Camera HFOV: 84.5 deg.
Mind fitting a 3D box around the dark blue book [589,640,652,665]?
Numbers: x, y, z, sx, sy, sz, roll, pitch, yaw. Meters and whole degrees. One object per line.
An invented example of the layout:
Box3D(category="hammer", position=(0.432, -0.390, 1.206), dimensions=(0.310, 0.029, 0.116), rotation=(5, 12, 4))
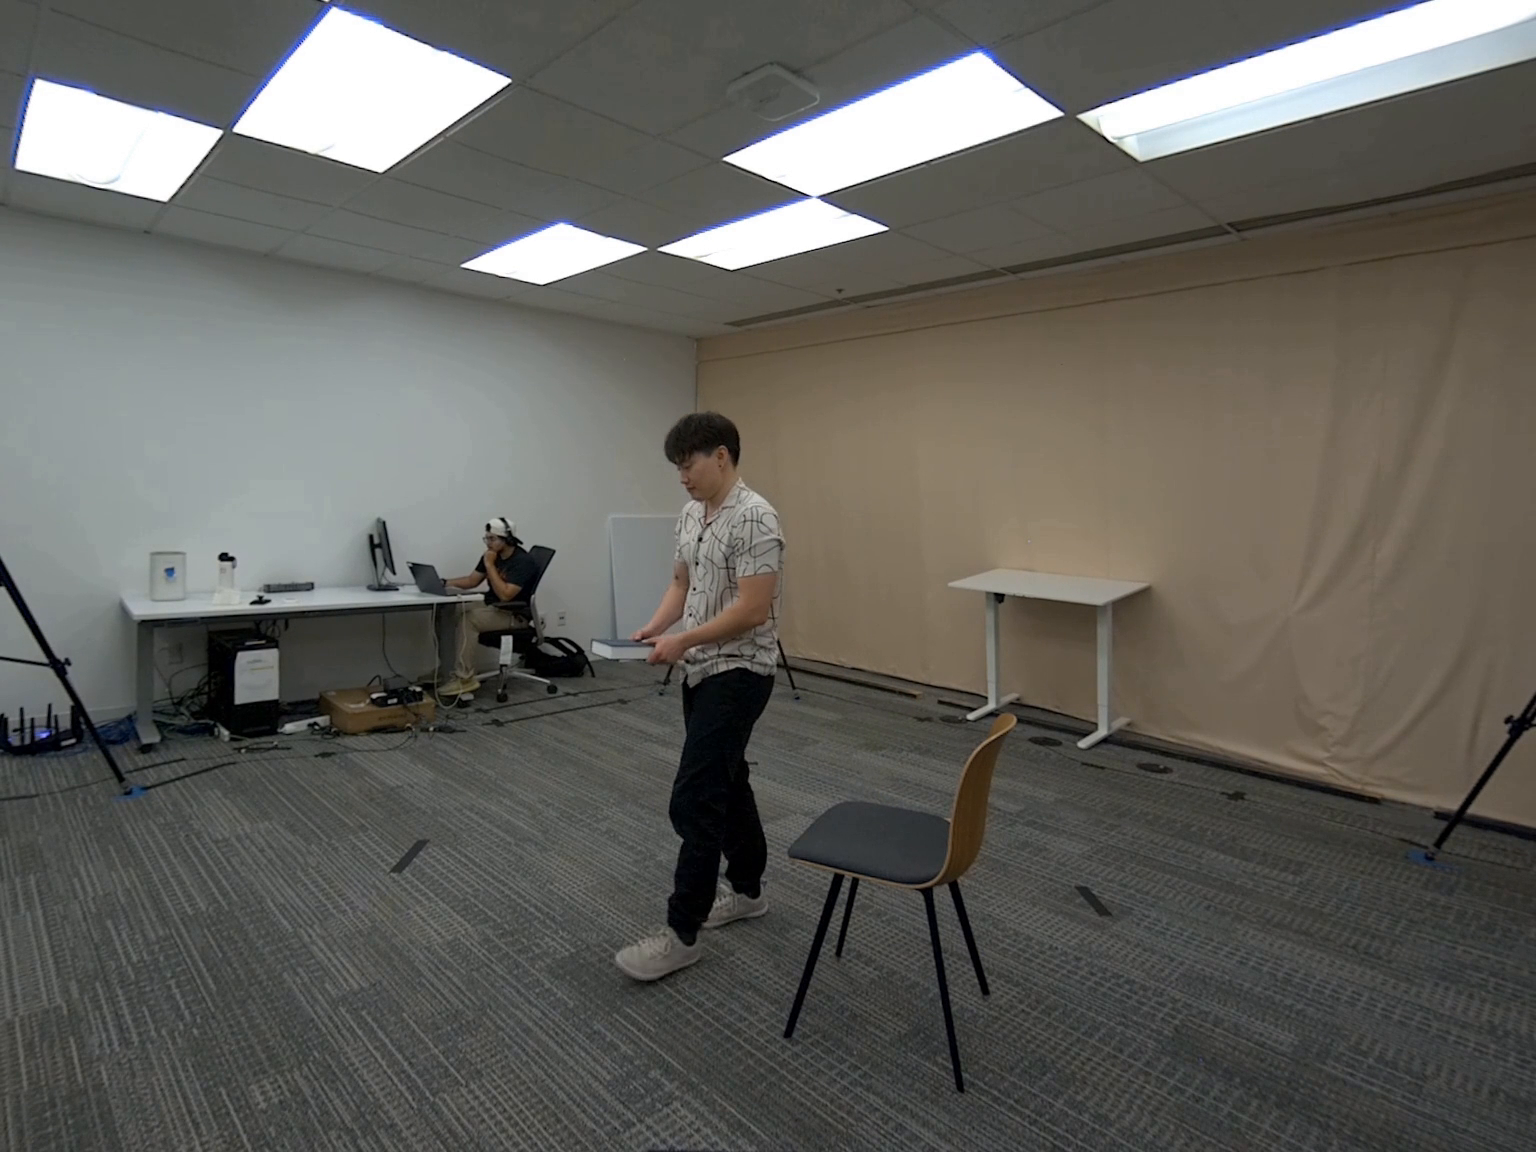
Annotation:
Box3D(category="dark blue book", position=(-0.396, 0.229, 2.544), dimensions=(0.240, 0.045, 0.166), rotation=(5, 0, -26))
